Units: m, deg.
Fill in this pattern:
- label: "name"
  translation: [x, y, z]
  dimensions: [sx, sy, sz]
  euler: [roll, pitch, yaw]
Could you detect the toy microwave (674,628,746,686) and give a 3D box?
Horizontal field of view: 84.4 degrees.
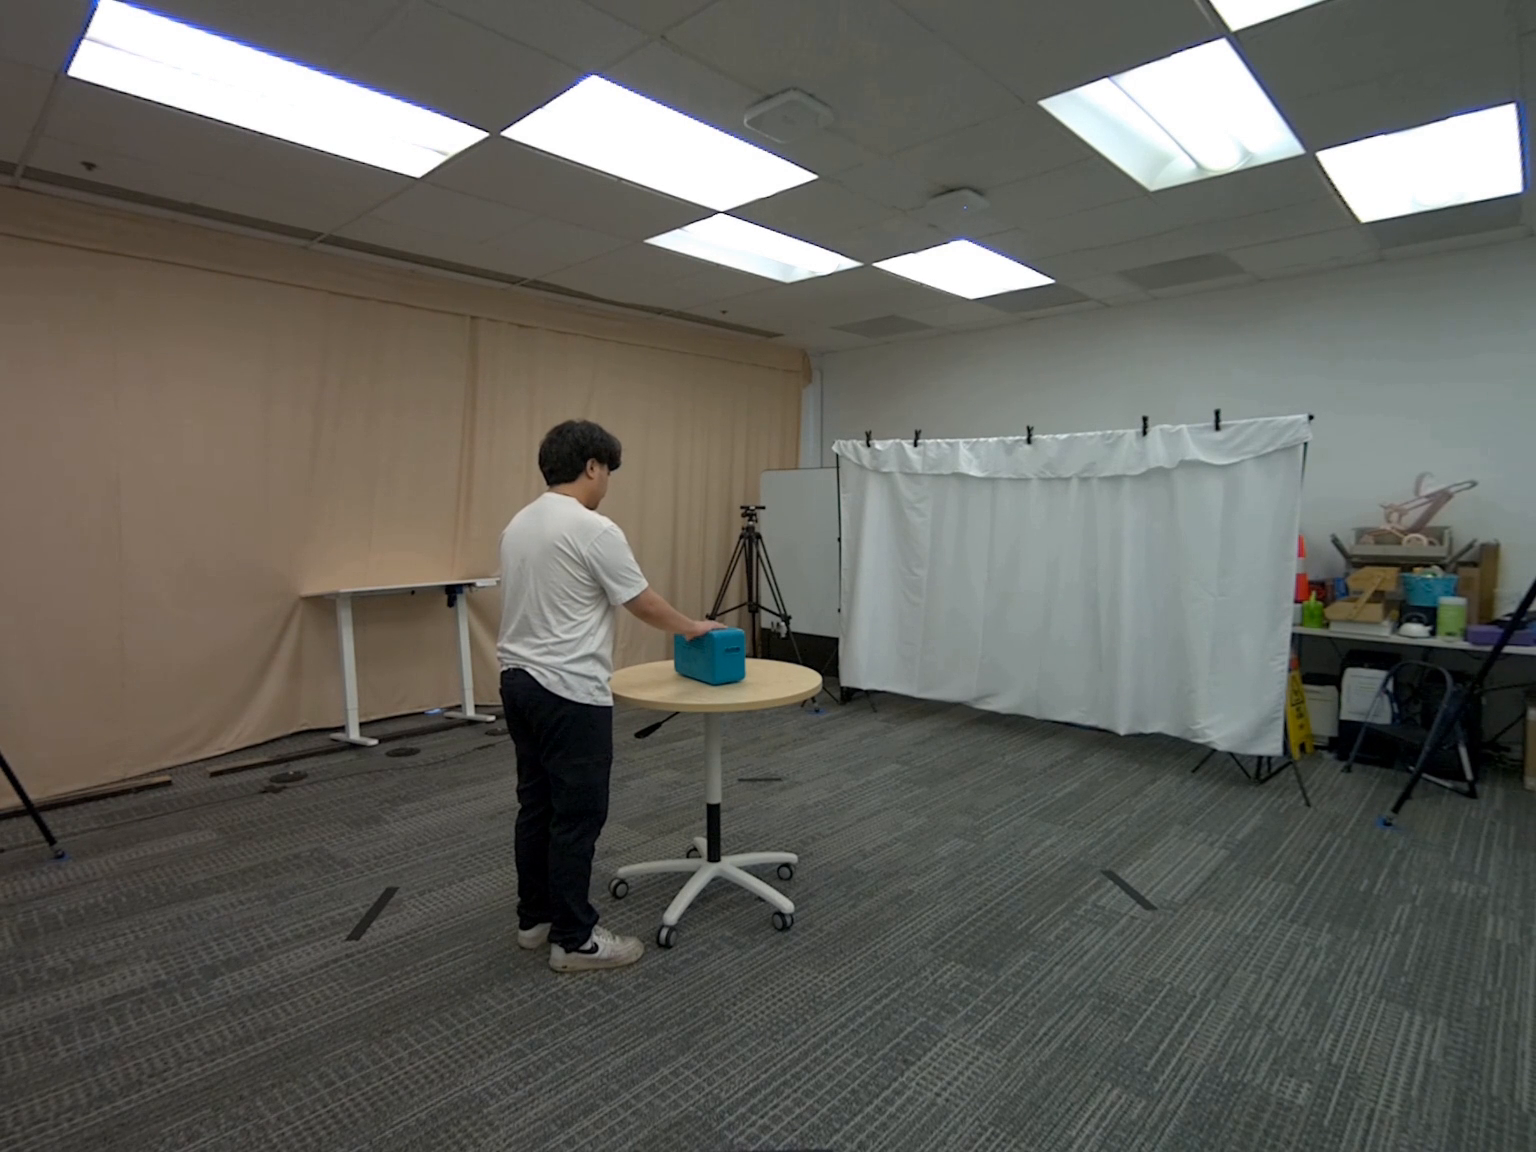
- label: "toy microwave"
  translation: [-0.200, 0.264, 2.935]
  dimensions: [0.148, 0.184, 0.295]
  euler: [-3, 5, -33]
